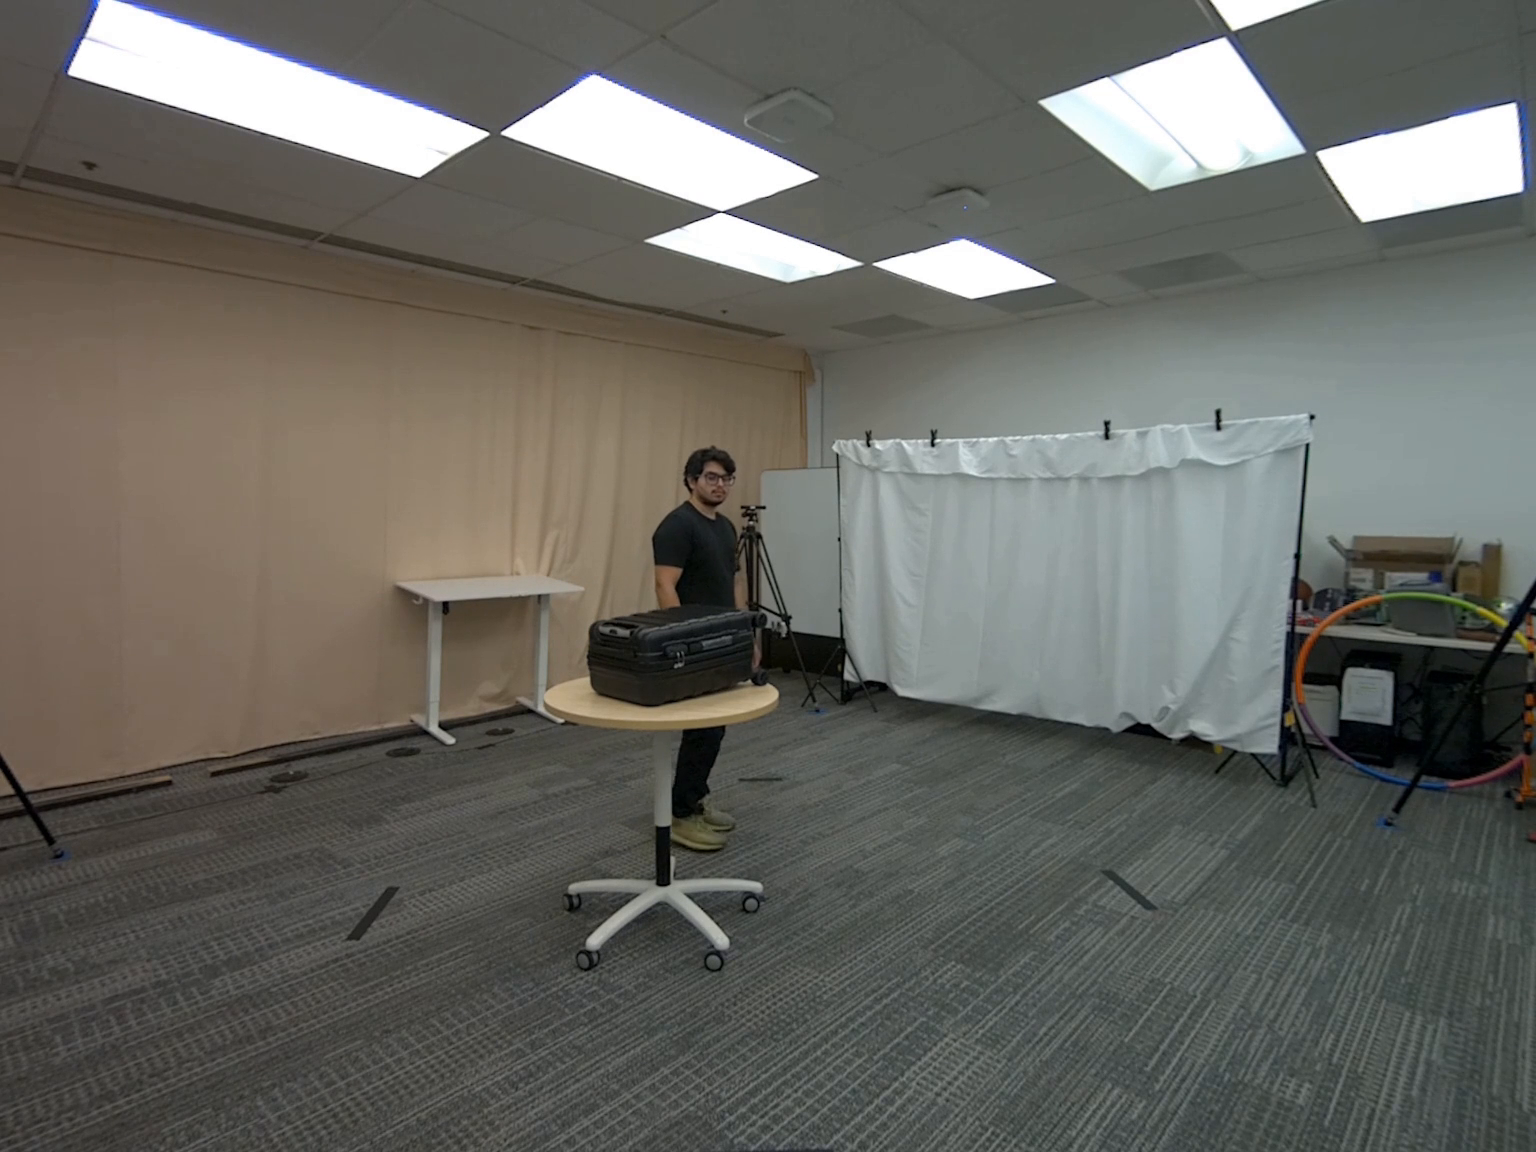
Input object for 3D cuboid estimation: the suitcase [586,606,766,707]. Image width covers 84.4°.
[{"bbox_3d":[-0.303,0.254,2.794,0.388,0.247,0.533,3,7,42],"label":"suitcase"}]
